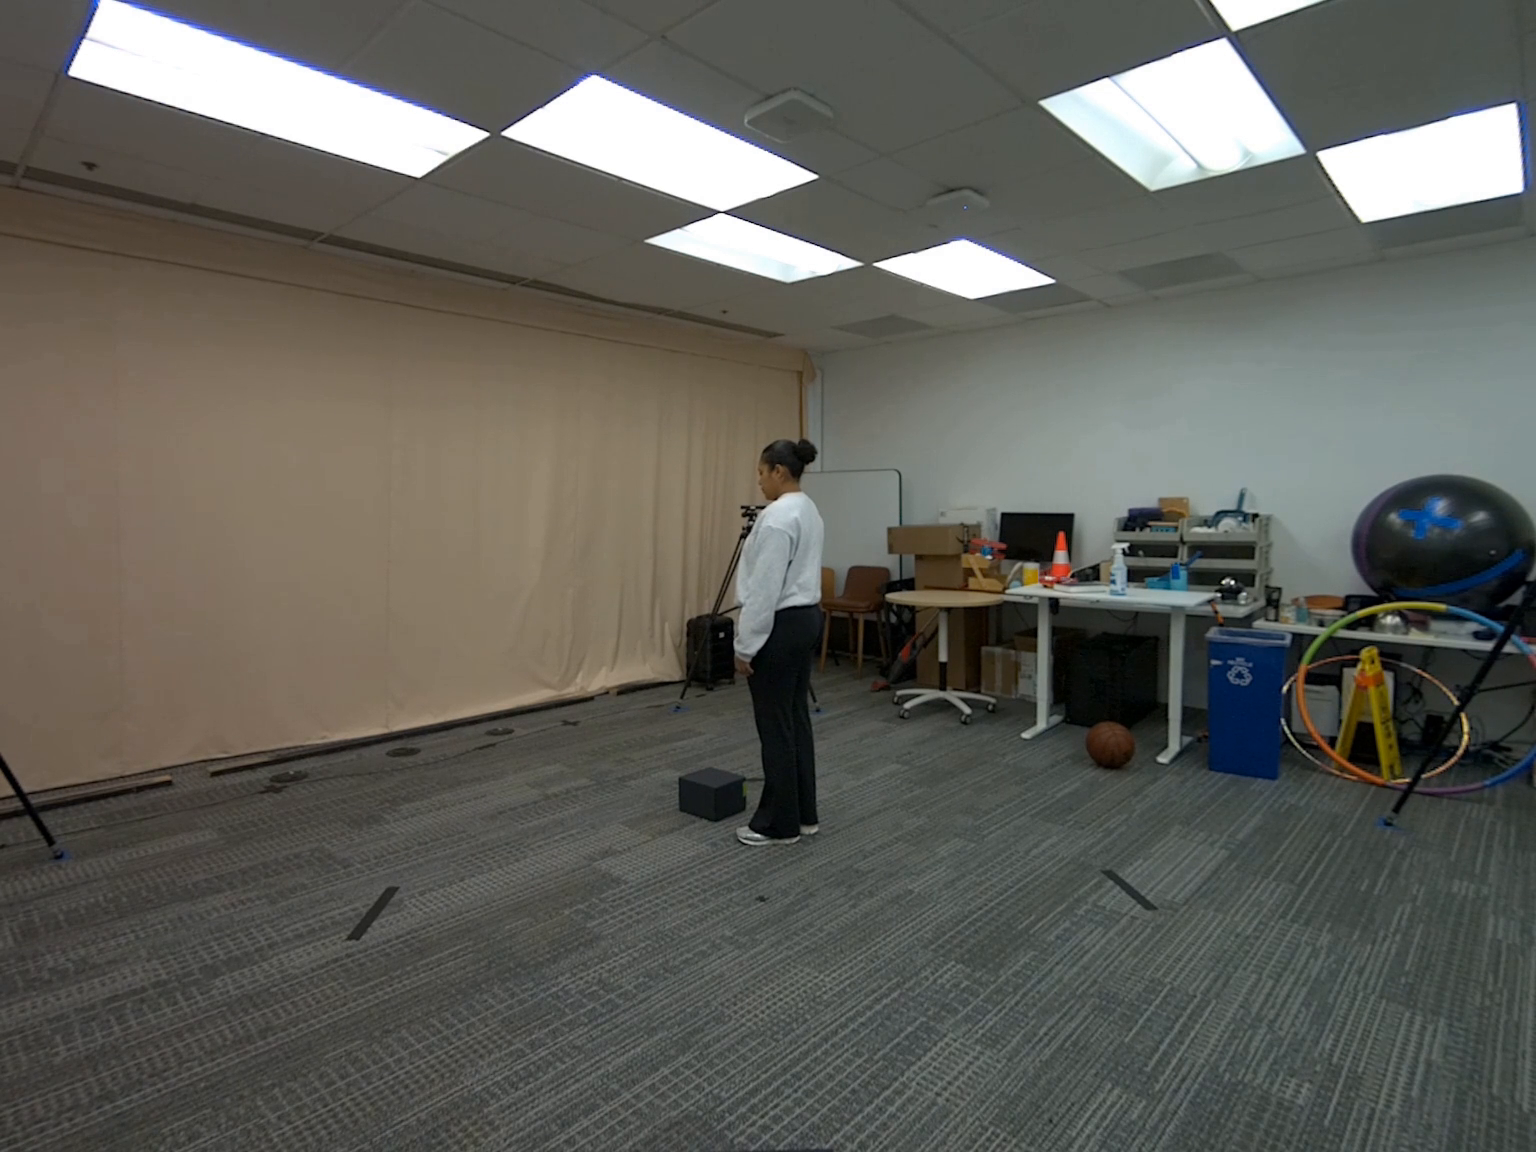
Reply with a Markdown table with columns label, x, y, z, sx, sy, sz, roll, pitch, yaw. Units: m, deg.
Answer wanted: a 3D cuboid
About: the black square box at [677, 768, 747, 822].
| label | x | y | z | sx | sy | sz | roll | pitch | yaw |
| --- | --- | --- | --- | --- | --- | --- | --- | --- | --- |
| black square box | -0.248 | 0.990 | 3.850 | 0.235 | 0.155 | 0.210 | 3 | 5 | 40 |
